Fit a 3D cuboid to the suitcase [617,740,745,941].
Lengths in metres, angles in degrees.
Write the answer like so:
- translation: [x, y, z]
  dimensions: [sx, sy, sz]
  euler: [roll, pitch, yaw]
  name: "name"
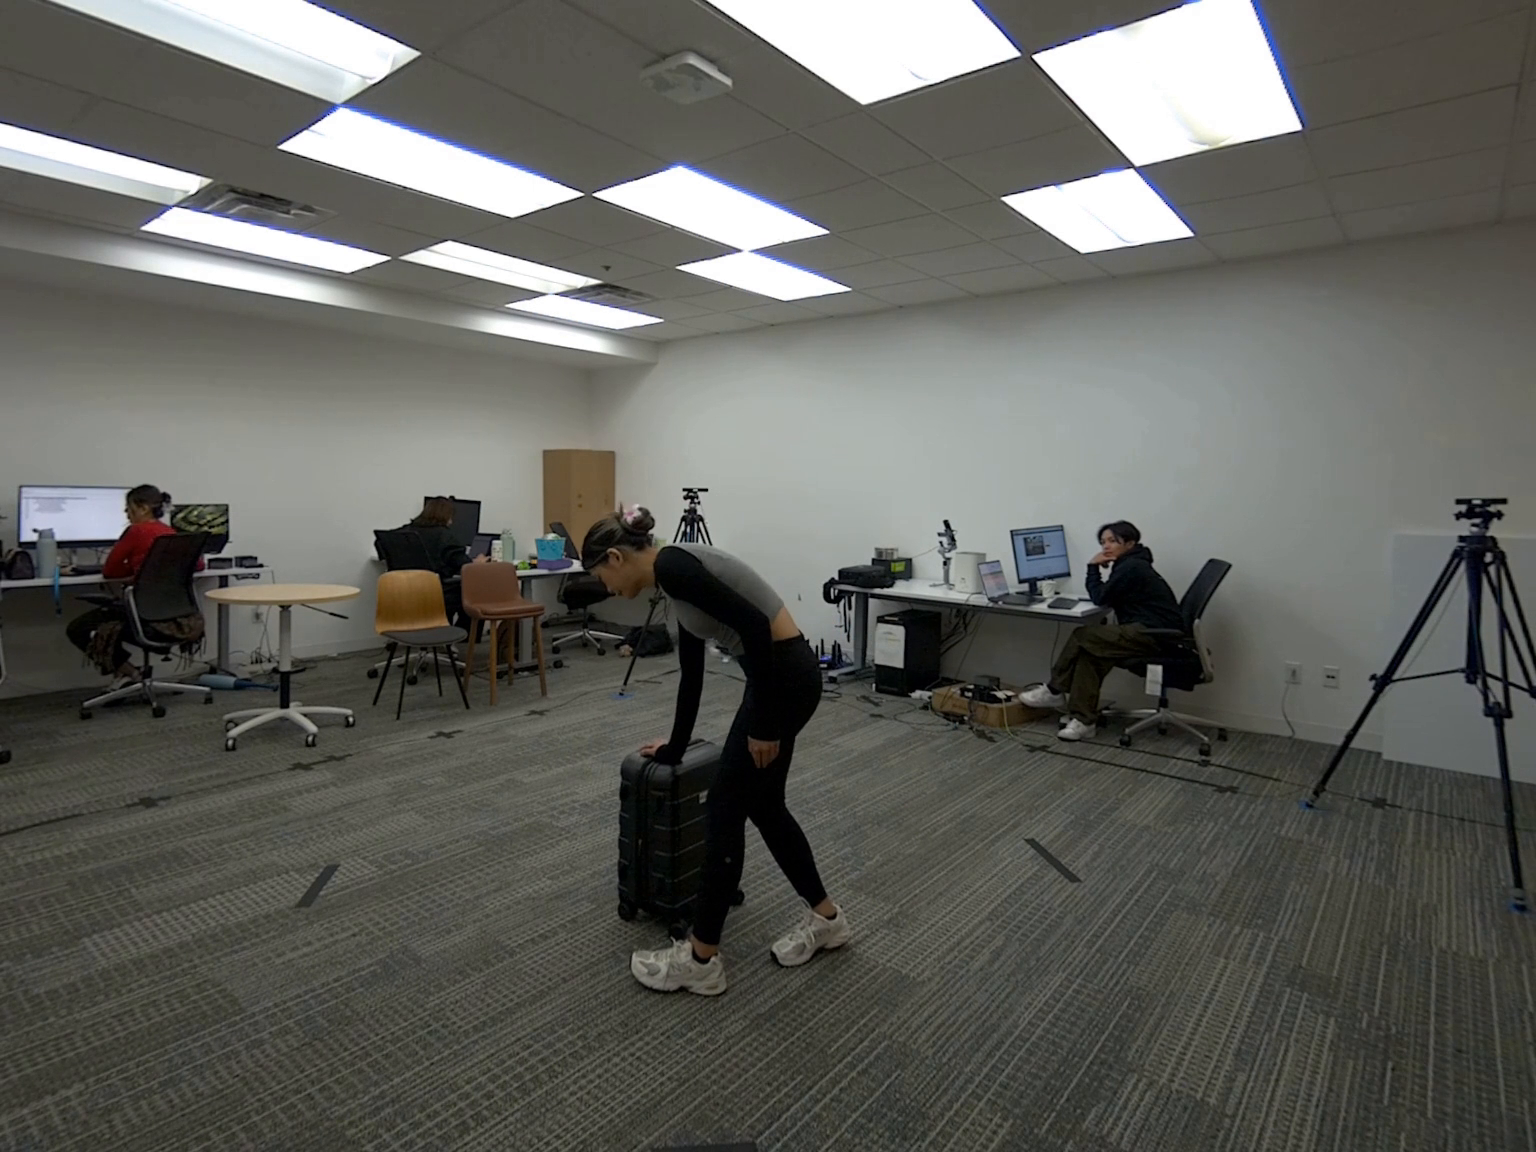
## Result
- translation: [-0.300, 0.824, 2.793]
  dimensions: [0.256, 0.548, 0.364]
  euler: [1, 2, 36]
  name: "suitcase"
